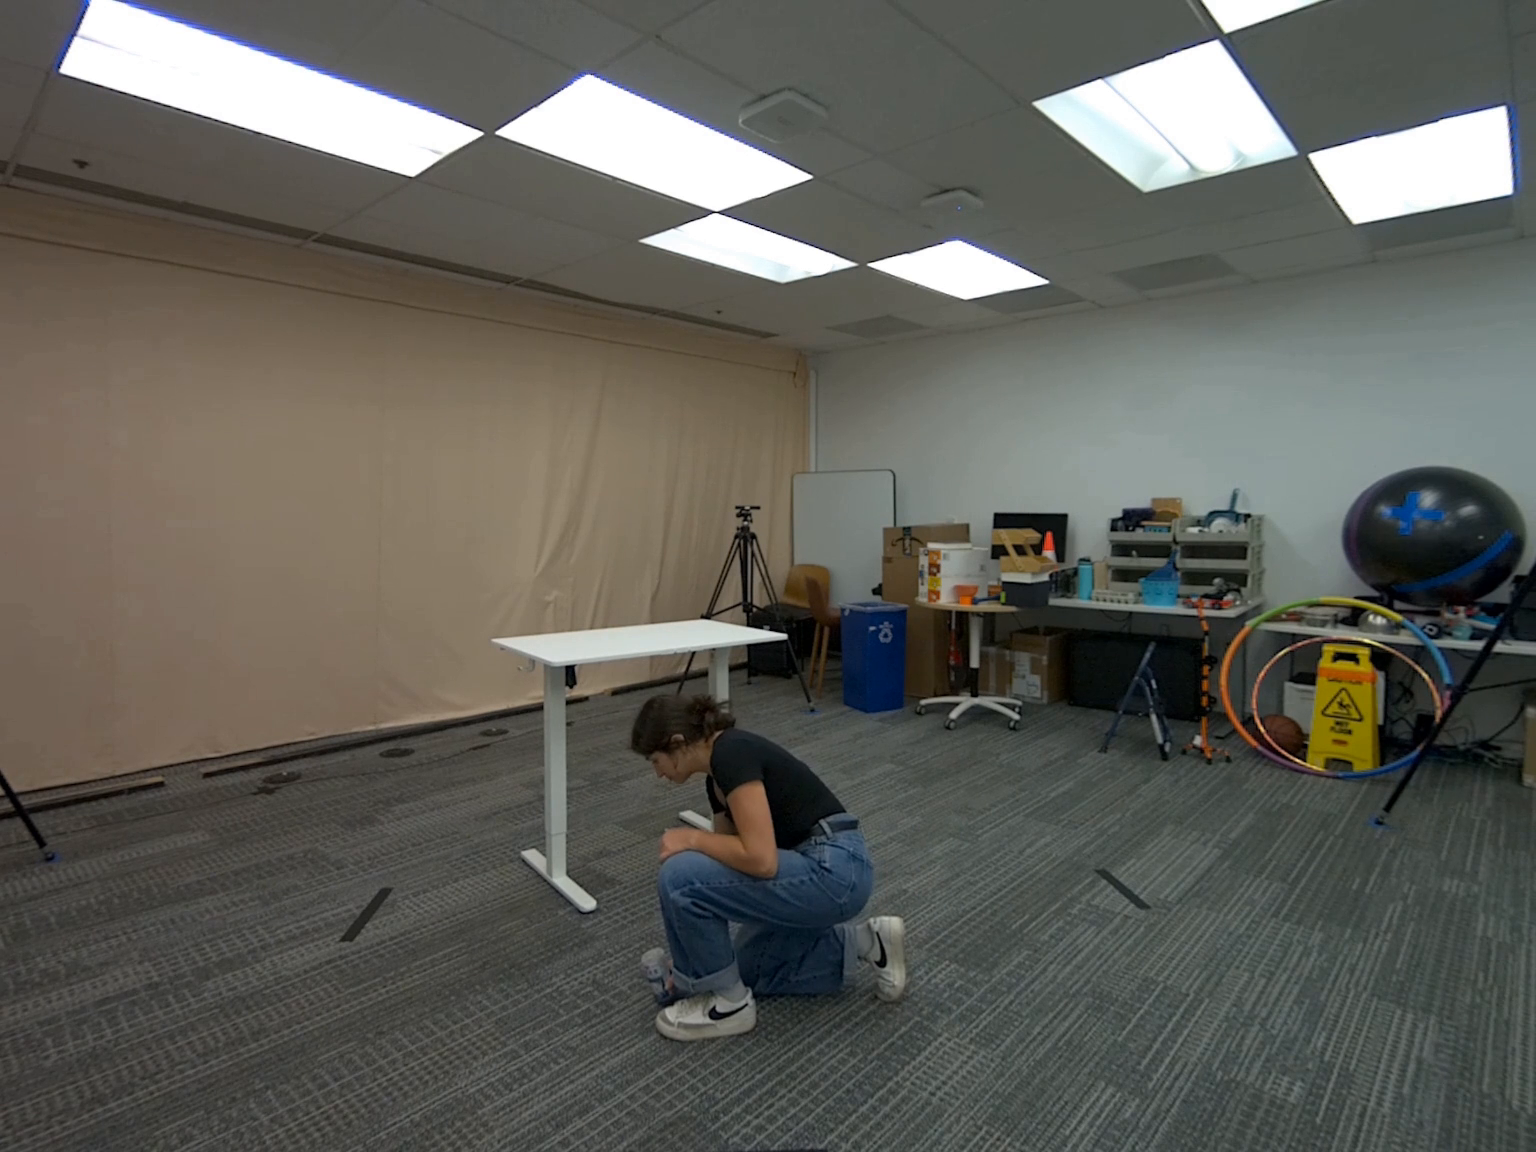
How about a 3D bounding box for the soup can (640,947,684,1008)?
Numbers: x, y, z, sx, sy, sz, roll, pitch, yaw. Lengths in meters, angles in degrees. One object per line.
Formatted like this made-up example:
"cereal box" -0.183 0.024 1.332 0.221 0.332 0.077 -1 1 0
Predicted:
"soup can" -0.304 1.115 2.376 0.067 0.121 0.067 -17 2 -1
